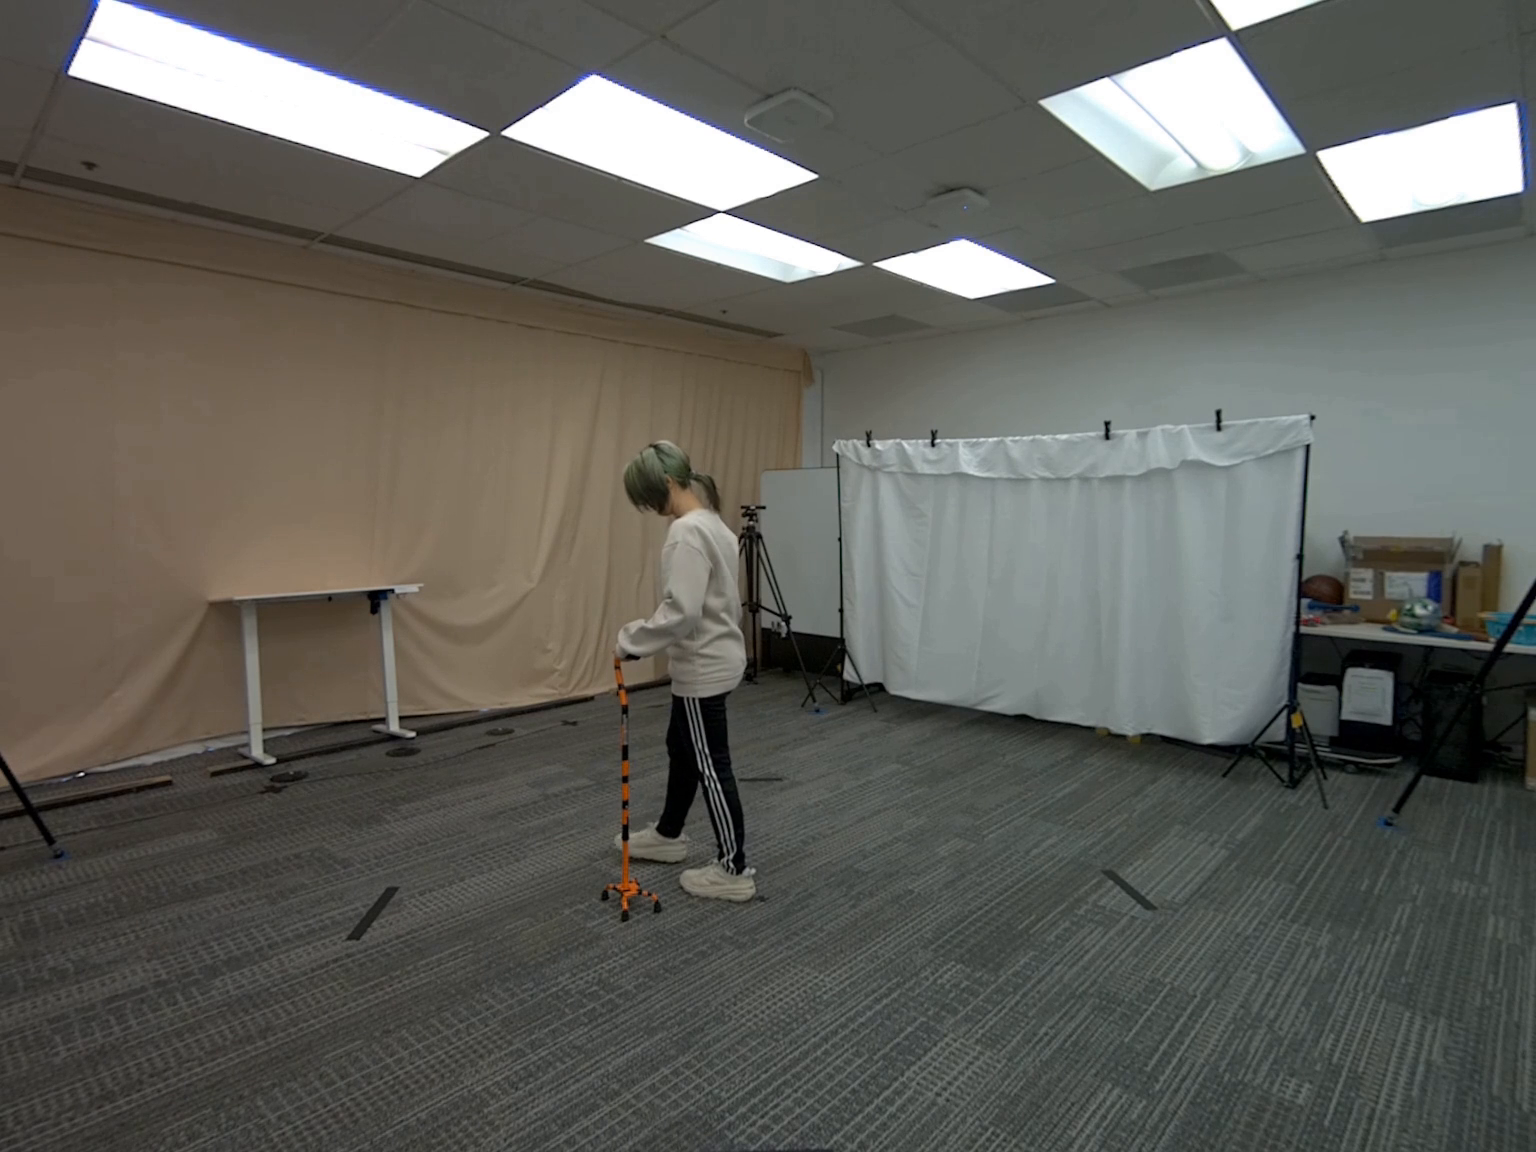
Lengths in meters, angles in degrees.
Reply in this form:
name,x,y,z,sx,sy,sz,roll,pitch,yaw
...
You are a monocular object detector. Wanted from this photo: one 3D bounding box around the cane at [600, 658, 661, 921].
name,x,y,z,sx,sy,sz,roll,pitch,yaw
cane,-0.484,0.702,2.926,0.147,0.906,0.212,-2,3,-31
